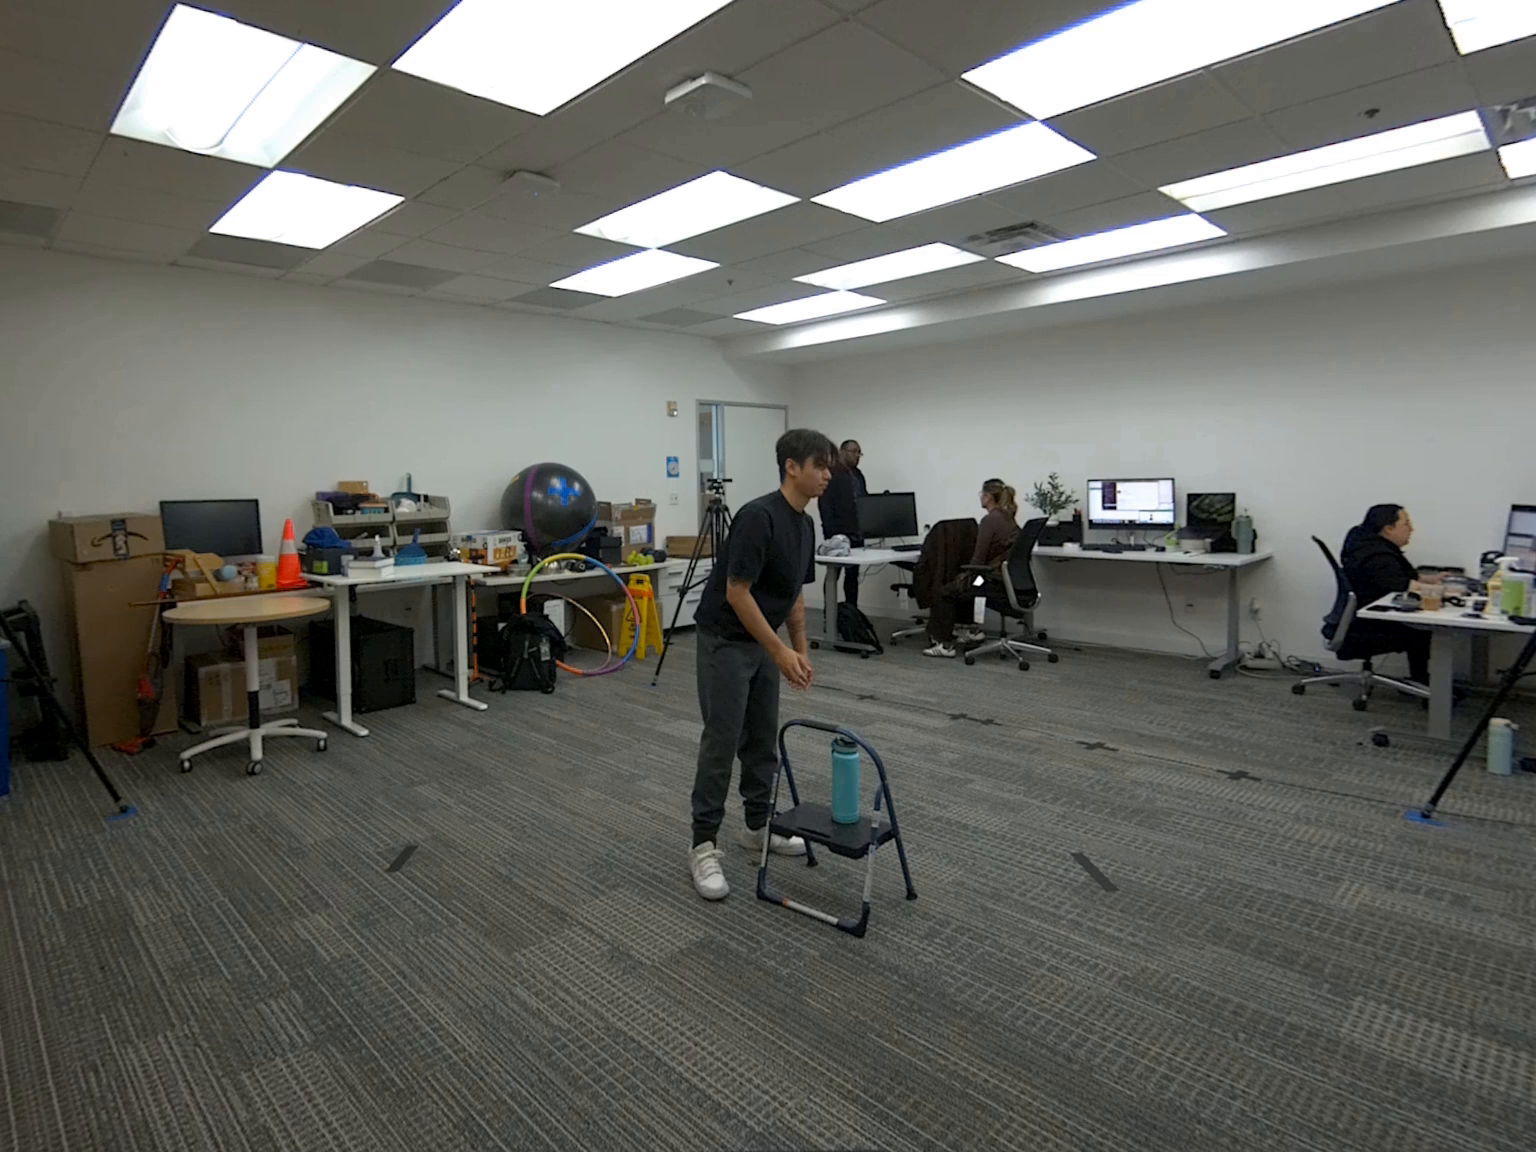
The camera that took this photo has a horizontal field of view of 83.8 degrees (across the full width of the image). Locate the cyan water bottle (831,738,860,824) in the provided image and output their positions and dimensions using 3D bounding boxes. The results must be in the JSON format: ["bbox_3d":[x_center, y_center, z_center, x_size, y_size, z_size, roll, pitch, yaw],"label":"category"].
[{"bbox_3d":[0.260,0.671,2.833,0.092,0.282,0.093,0,5,-2],"label":"cyan water bottle"}]
